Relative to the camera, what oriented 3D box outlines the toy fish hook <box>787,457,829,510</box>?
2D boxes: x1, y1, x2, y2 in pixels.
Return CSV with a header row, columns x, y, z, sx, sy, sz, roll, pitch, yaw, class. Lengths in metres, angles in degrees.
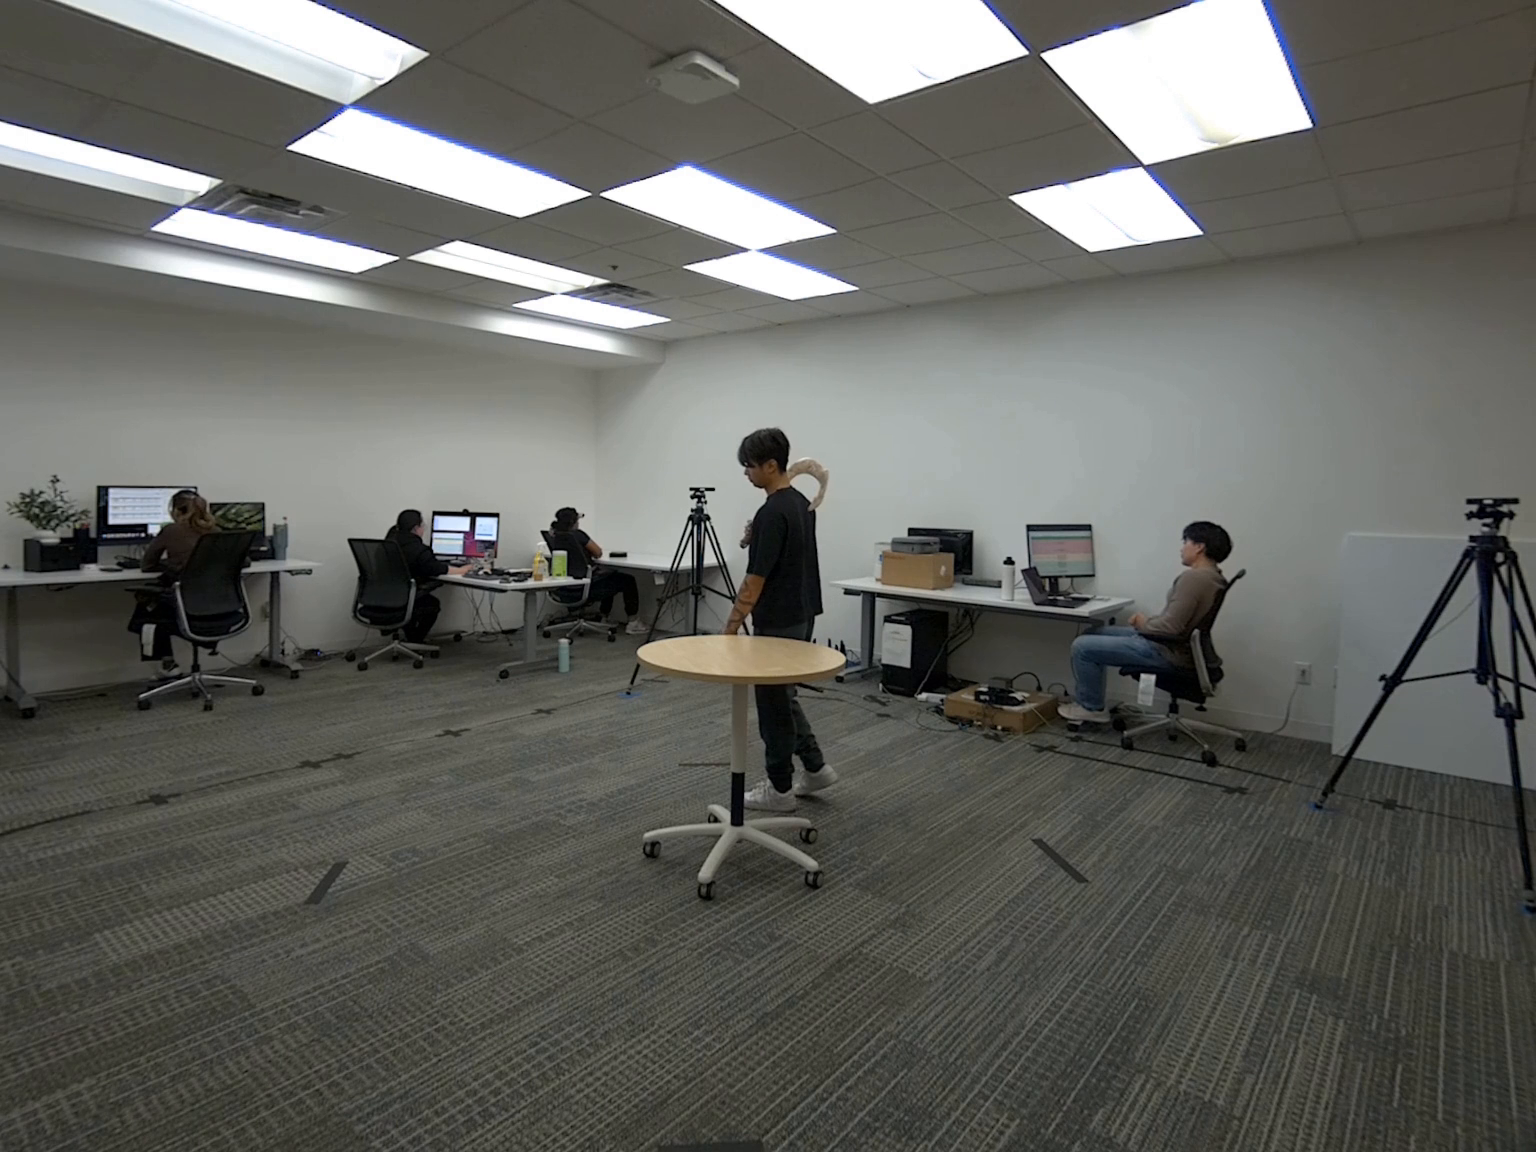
x,y,z,sx,sy,sz,roll,pitch,yaw,class
0.065,-0.294,3.758,0.232,0.506,0.047,40,7,26,toy fish hook
